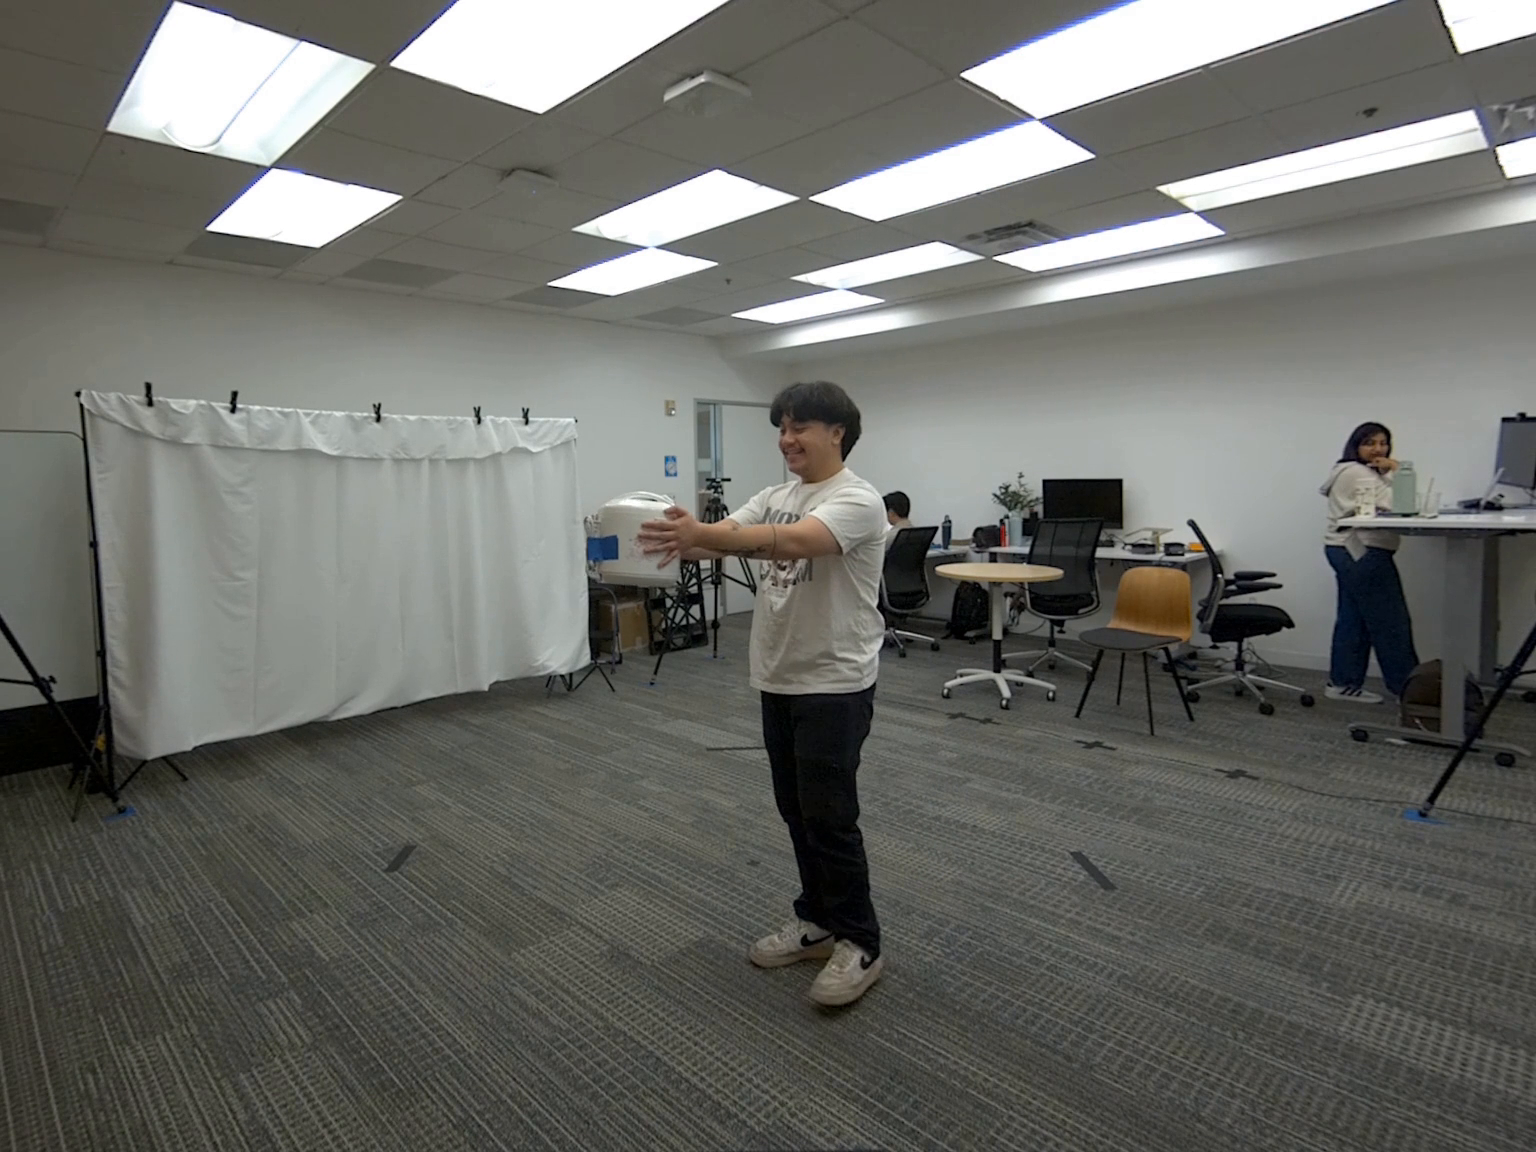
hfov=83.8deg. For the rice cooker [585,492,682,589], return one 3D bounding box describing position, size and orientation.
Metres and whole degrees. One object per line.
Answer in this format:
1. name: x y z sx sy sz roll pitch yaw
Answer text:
1. rice cooker: -0.312 -0.089 2.114 0.225 0.233 0.213 4 0 18
